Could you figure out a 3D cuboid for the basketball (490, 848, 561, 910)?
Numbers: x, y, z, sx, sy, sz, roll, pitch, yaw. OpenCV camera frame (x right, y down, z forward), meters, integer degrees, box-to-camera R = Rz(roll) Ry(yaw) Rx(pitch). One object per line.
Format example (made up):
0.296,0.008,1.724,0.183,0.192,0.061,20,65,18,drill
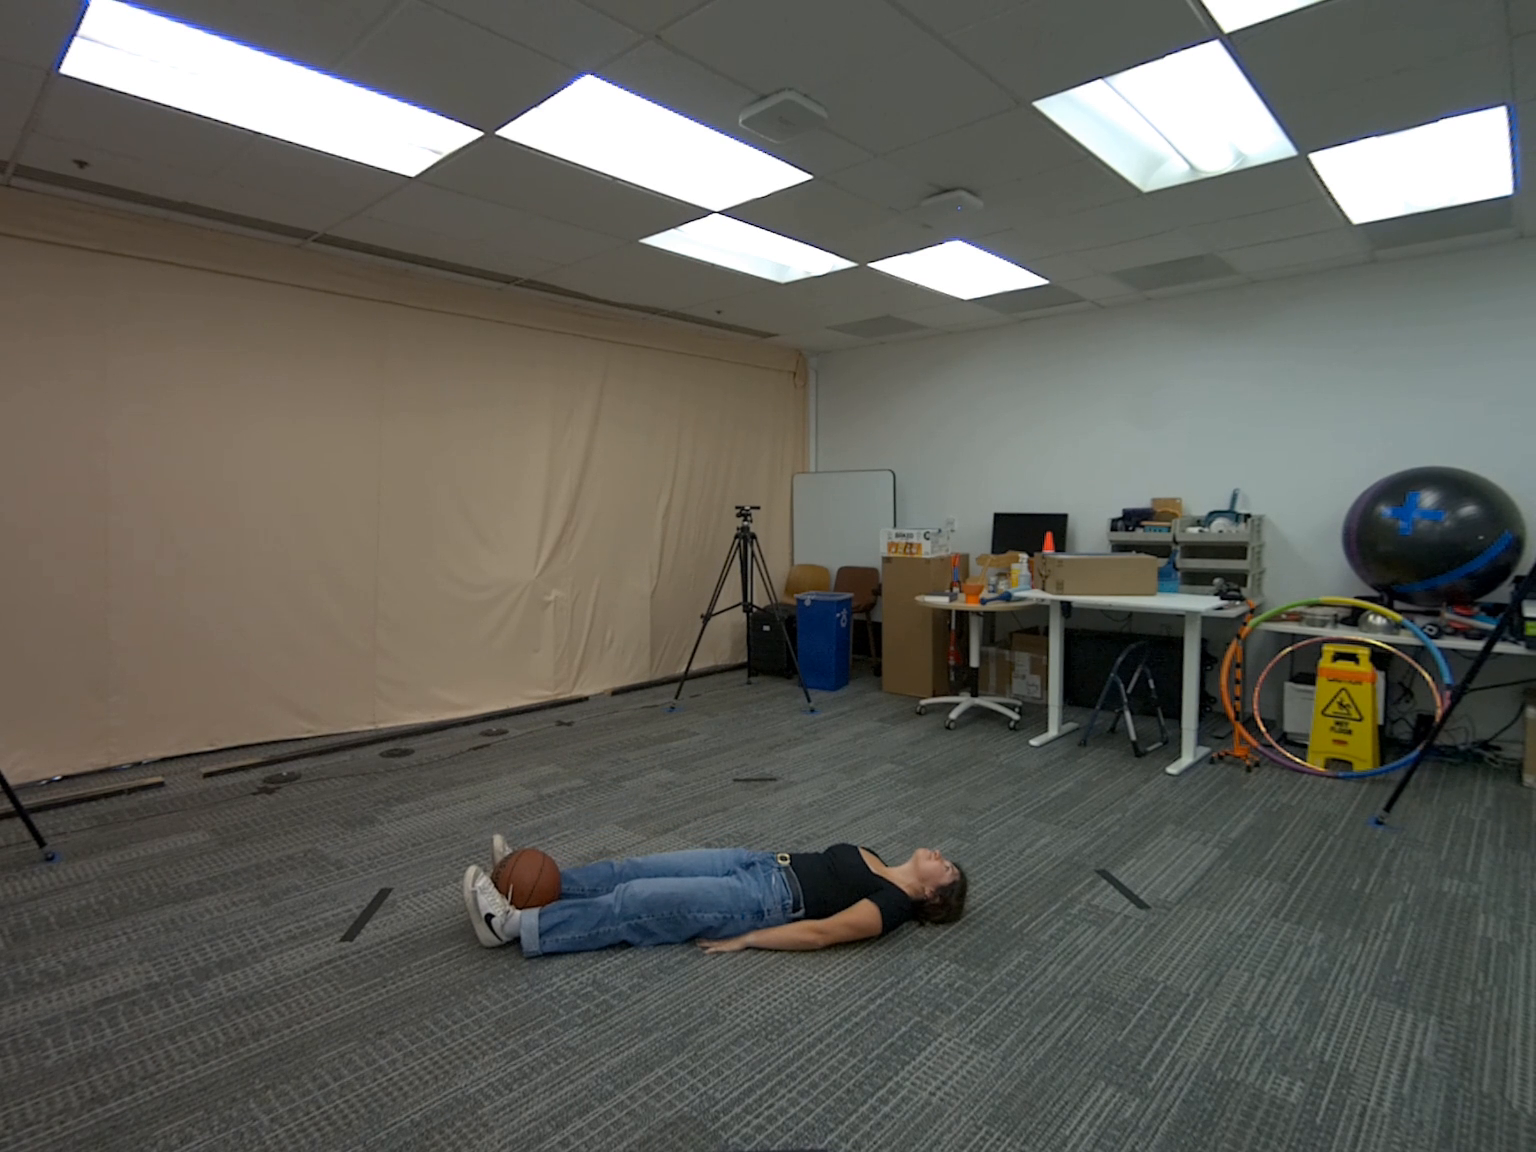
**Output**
-0.802,1.028,2.794,0.236,0.235,0.237,0,4,-2,basketball
